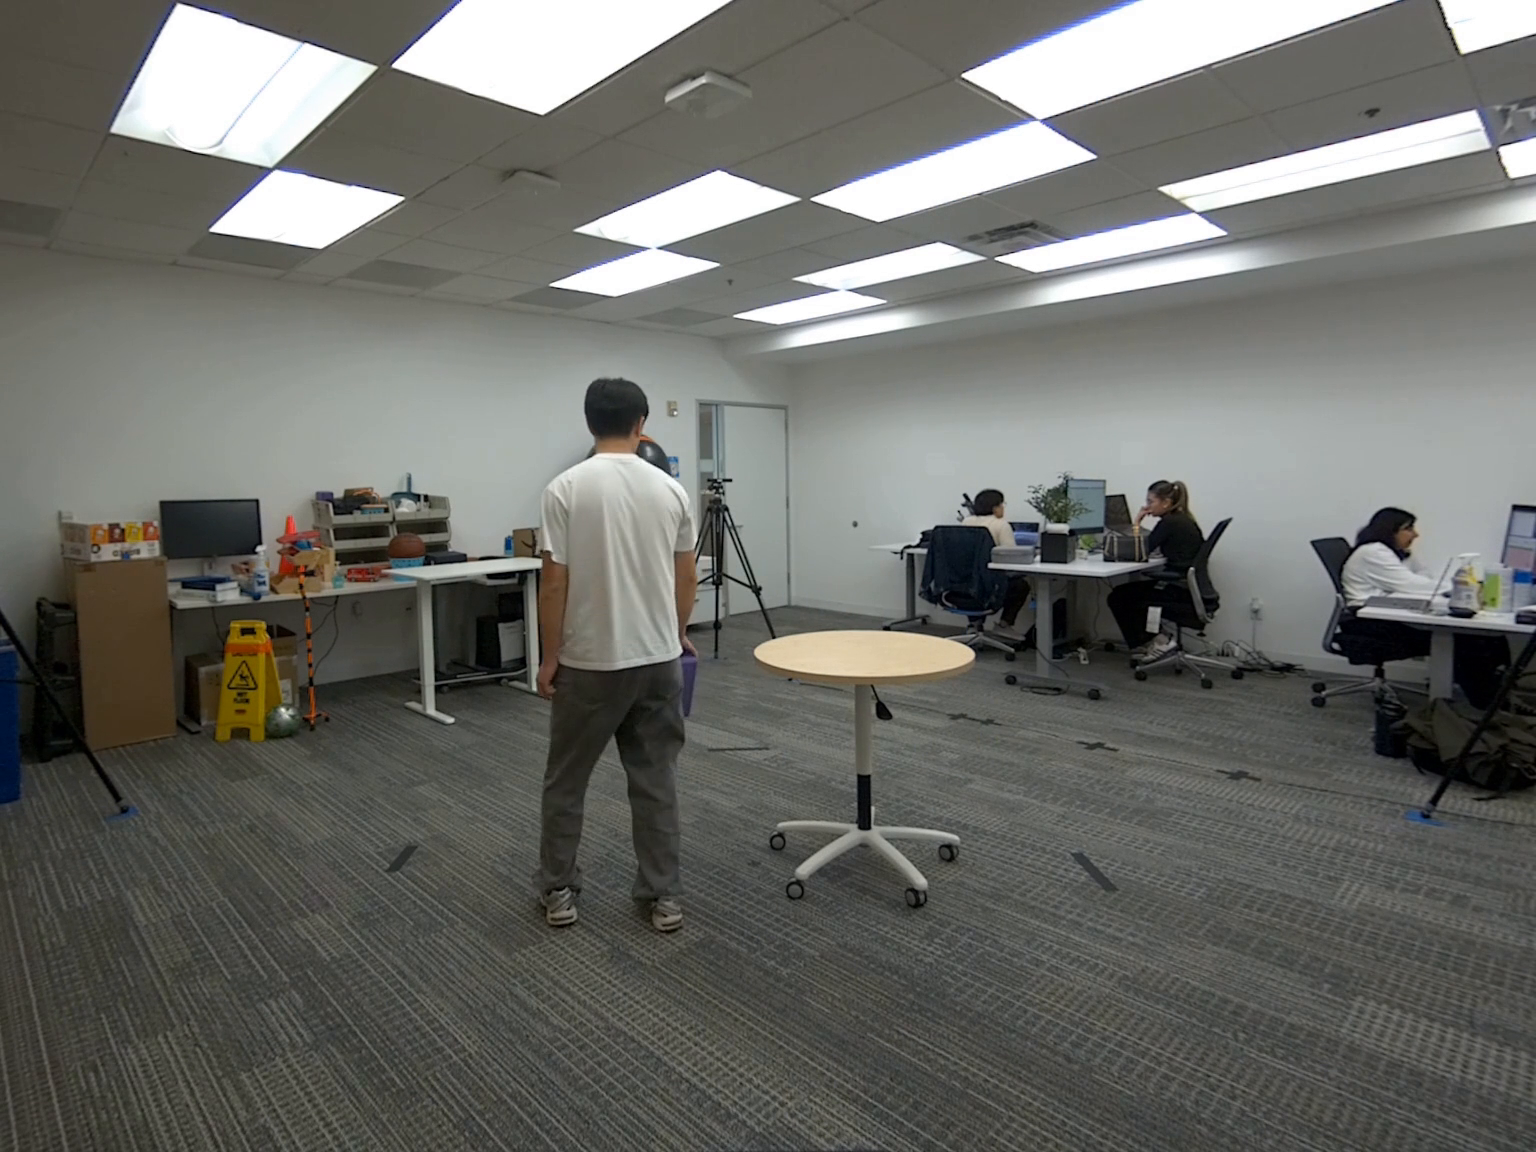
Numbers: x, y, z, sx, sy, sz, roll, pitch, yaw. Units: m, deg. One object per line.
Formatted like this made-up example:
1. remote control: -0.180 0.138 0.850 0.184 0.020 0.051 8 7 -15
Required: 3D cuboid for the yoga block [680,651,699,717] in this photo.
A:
1. yoga block: -0.307 0.366 3.058 0.074 0.227 0.154 0 16 -33
